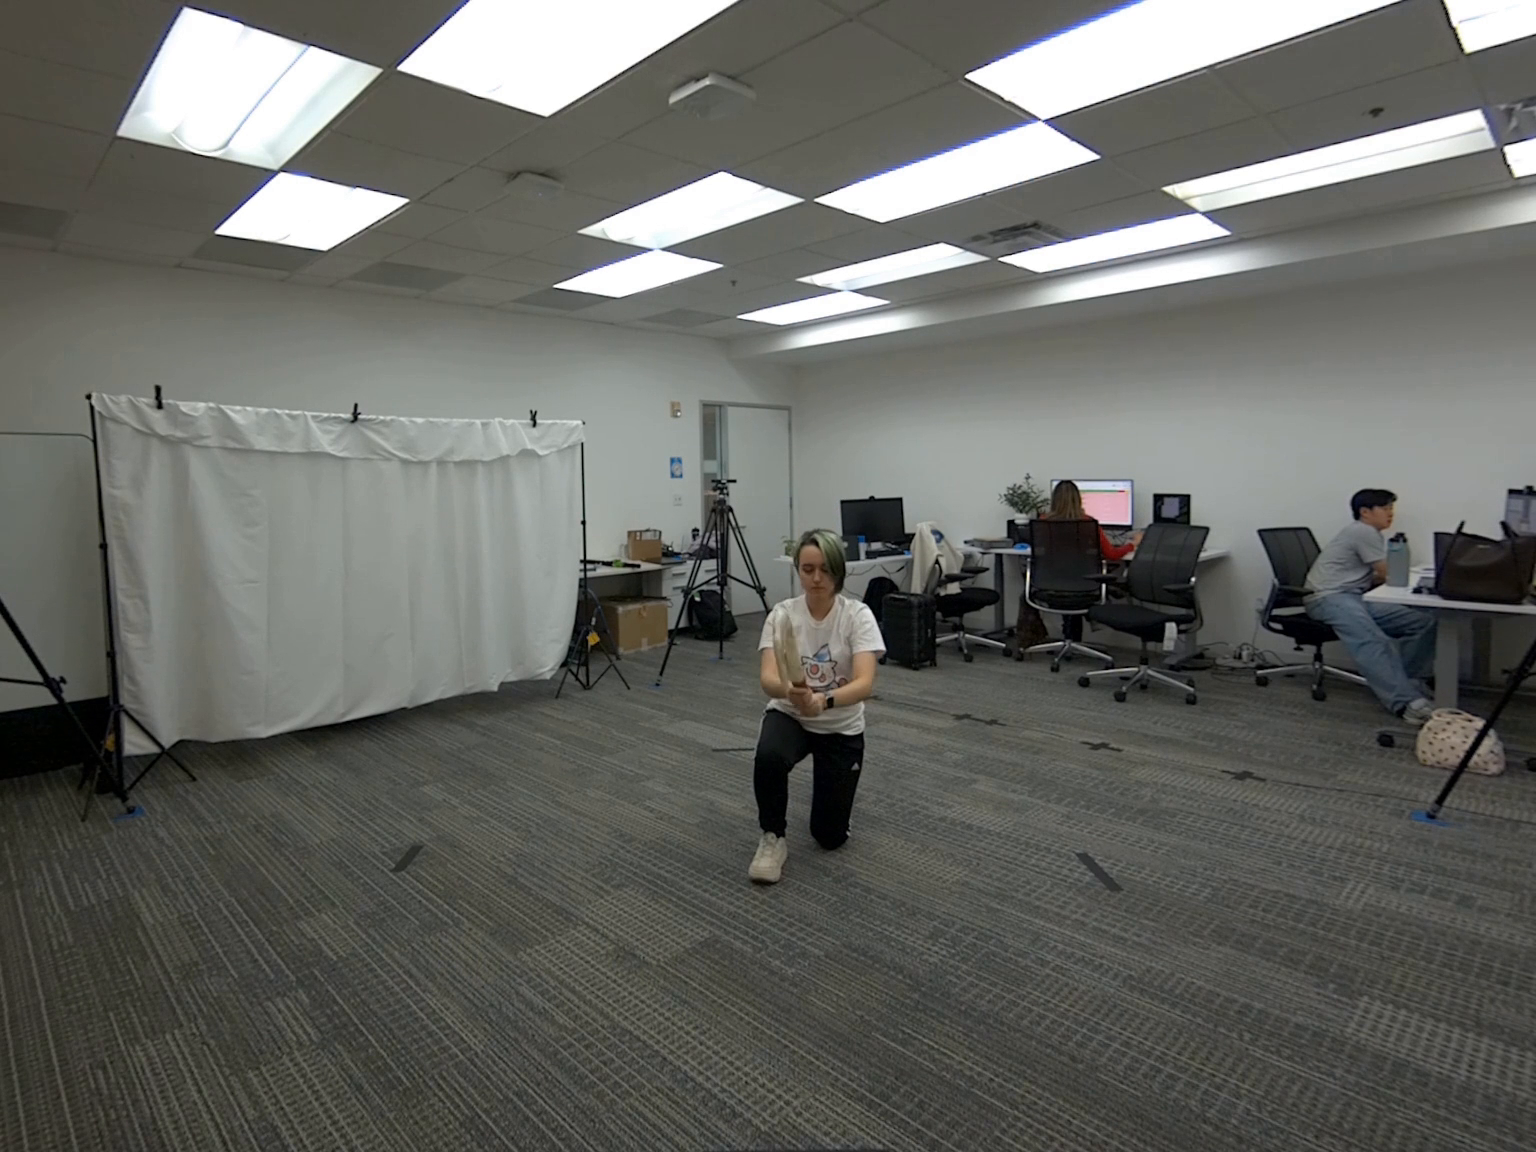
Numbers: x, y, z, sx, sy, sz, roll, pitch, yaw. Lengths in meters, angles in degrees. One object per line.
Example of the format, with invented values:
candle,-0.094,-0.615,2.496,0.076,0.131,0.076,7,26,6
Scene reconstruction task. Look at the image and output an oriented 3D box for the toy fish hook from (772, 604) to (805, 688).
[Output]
toy fish hook,0.081,0.316,2.587,0.049,0.489,0.228,-4,42,19
